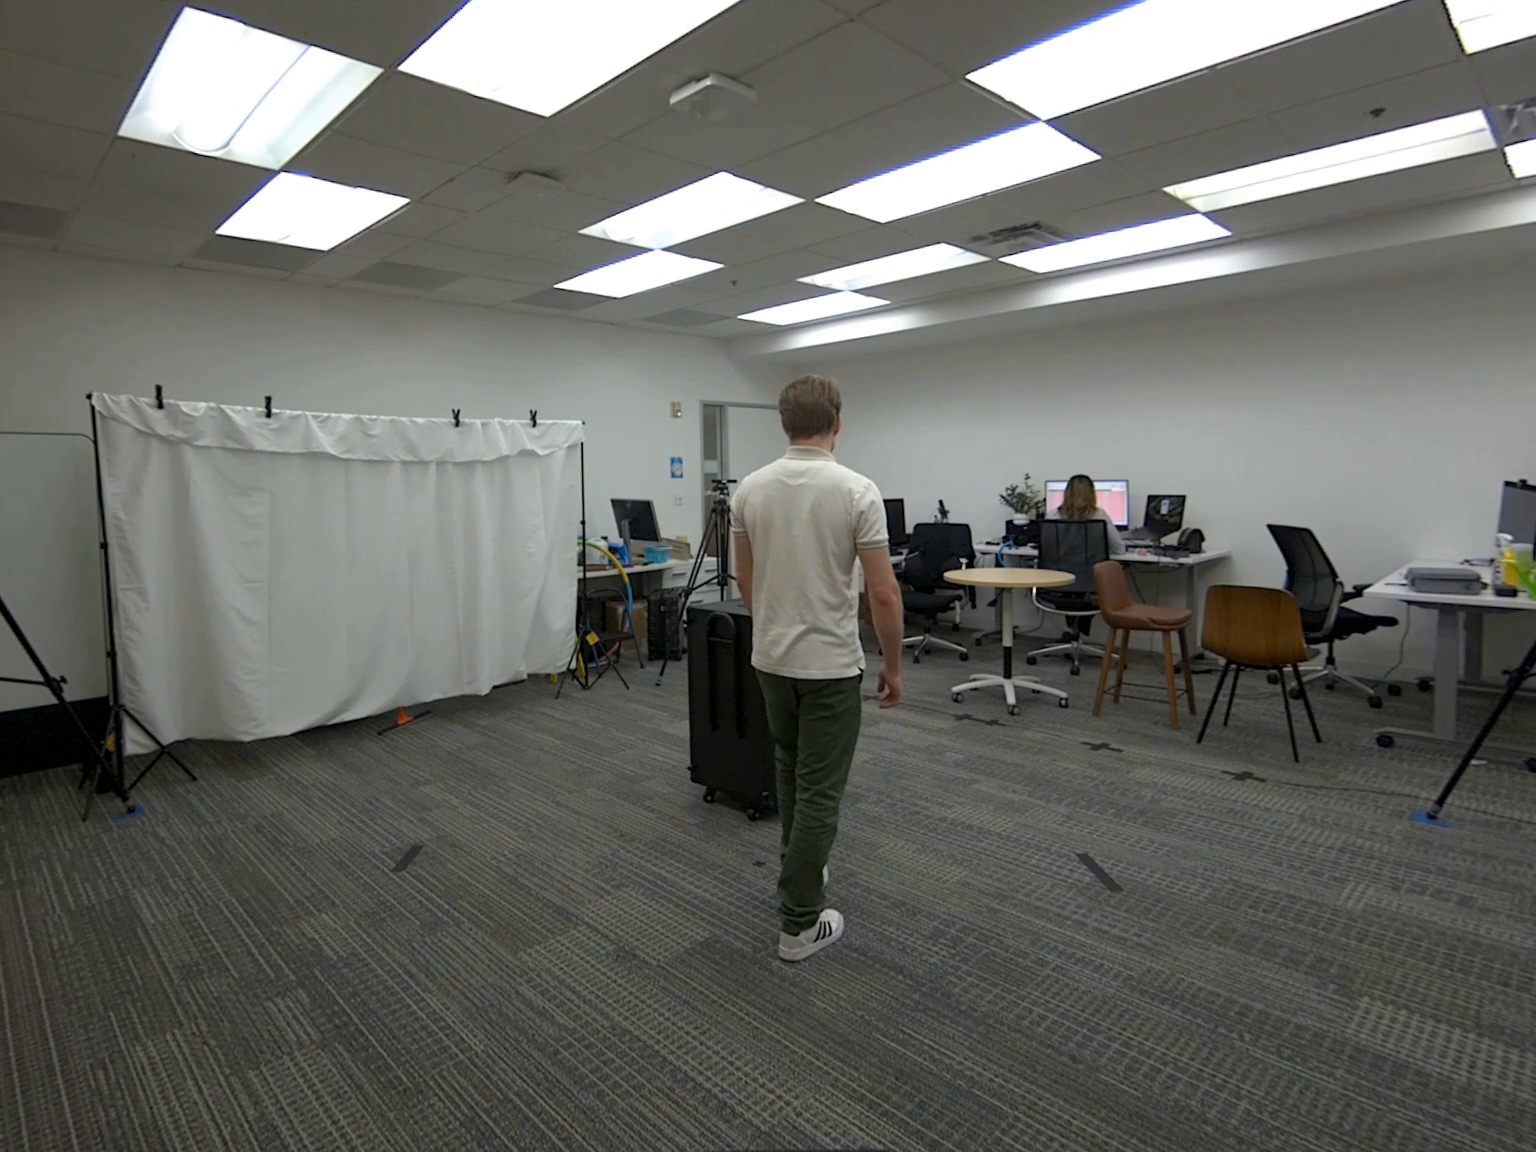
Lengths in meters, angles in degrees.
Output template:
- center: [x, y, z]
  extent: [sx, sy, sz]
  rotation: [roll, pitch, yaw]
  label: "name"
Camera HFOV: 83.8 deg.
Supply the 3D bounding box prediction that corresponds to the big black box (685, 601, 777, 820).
- center: [-0.053, 0.562, 3.693]
  extent: [0.539, 0.865, 0.375]
  rotation: [3, 6, 45]
  label: "big black box"
